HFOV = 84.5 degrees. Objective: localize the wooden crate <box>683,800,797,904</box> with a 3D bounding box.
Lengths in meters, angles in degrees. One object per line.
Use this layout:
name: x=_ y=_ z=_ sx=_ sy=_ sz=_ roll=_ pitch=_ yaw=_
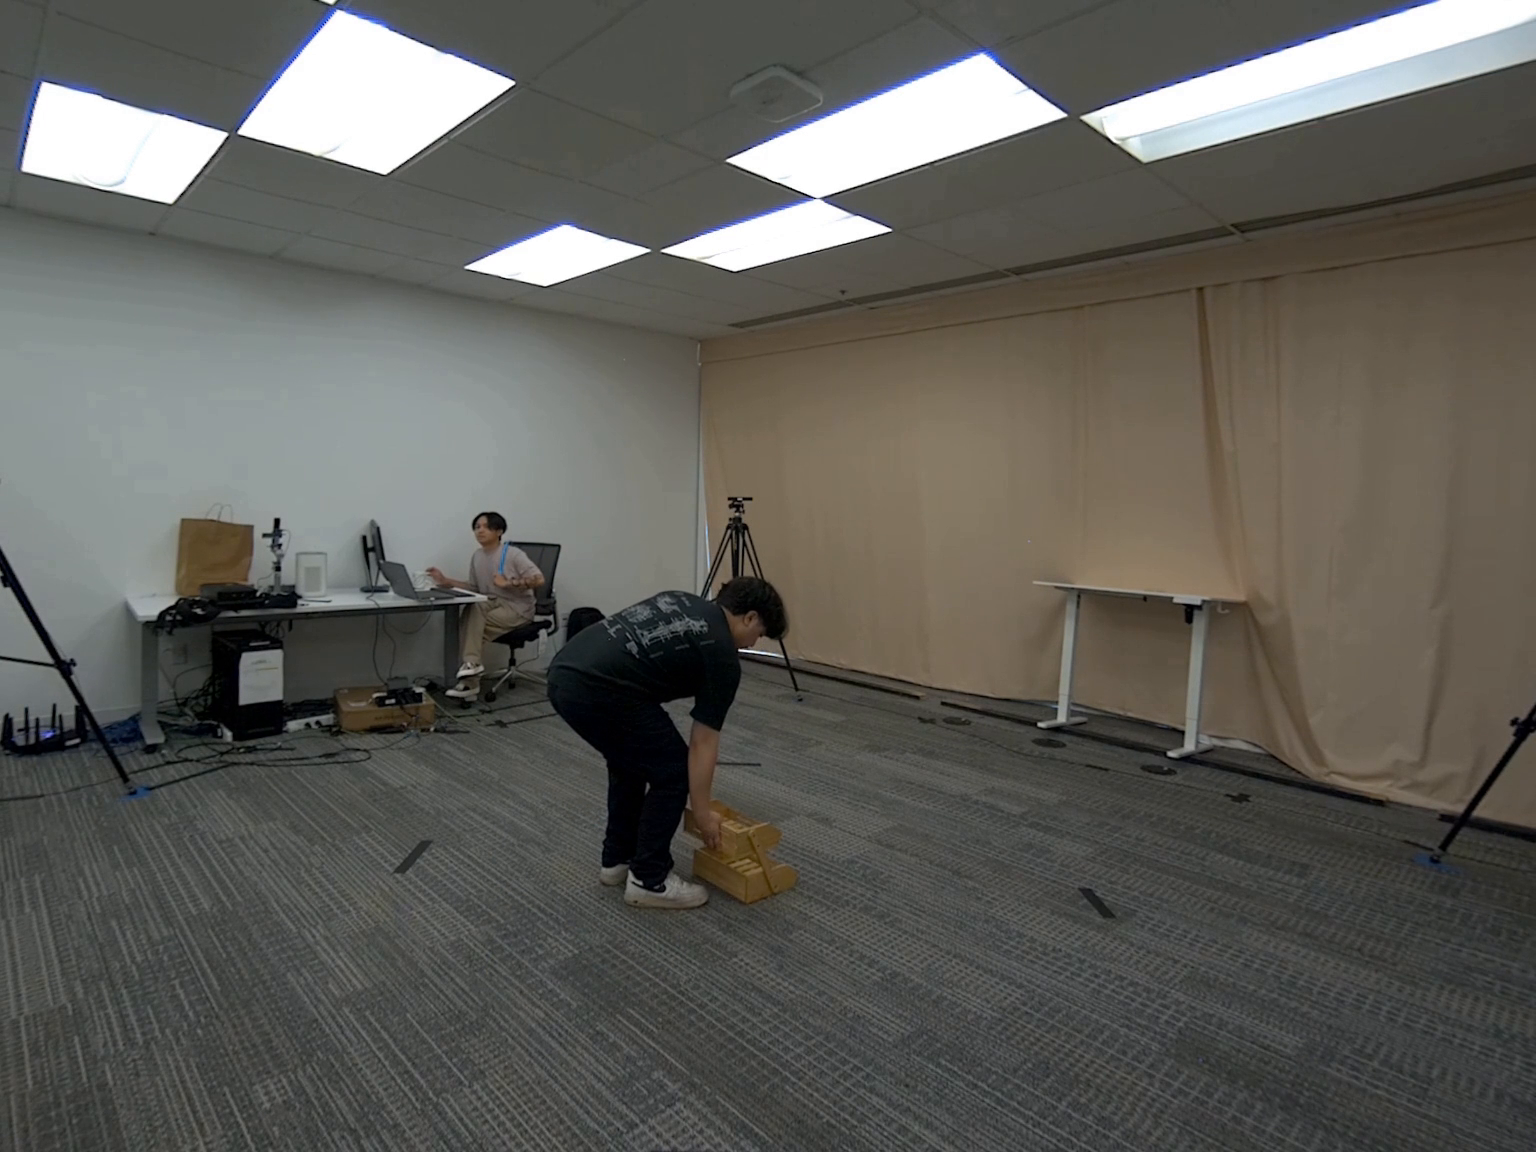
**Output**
wooden crate: x=-0.104 y=0.978 z=3.057 sx=0.295 sy=0.272 sz=0.333 roll=-1 pitch=6 yaw=-41
